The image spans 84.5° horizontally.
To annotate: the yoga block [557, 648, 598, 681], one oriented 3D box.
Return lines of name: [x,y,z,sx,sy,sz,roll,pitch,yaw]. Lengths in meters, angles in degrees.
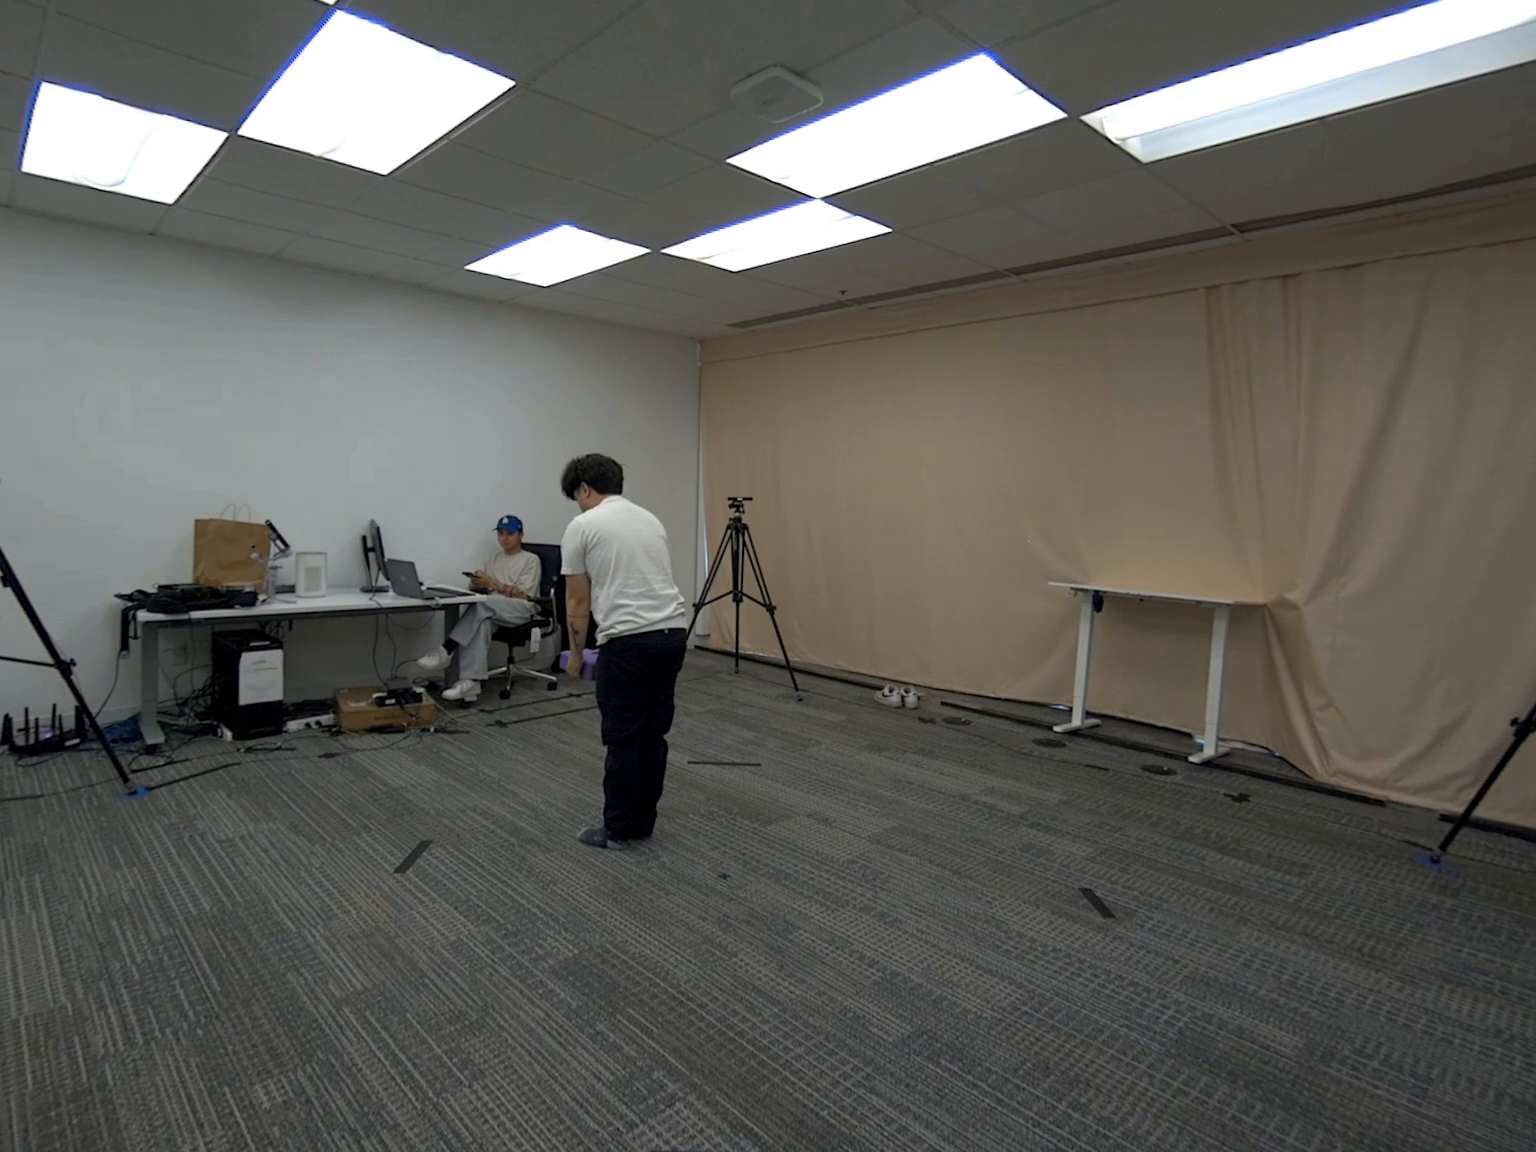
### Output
yoga block: [-0.761,0.371,3.569,0.236,0.076,0.145,13,11,41]
